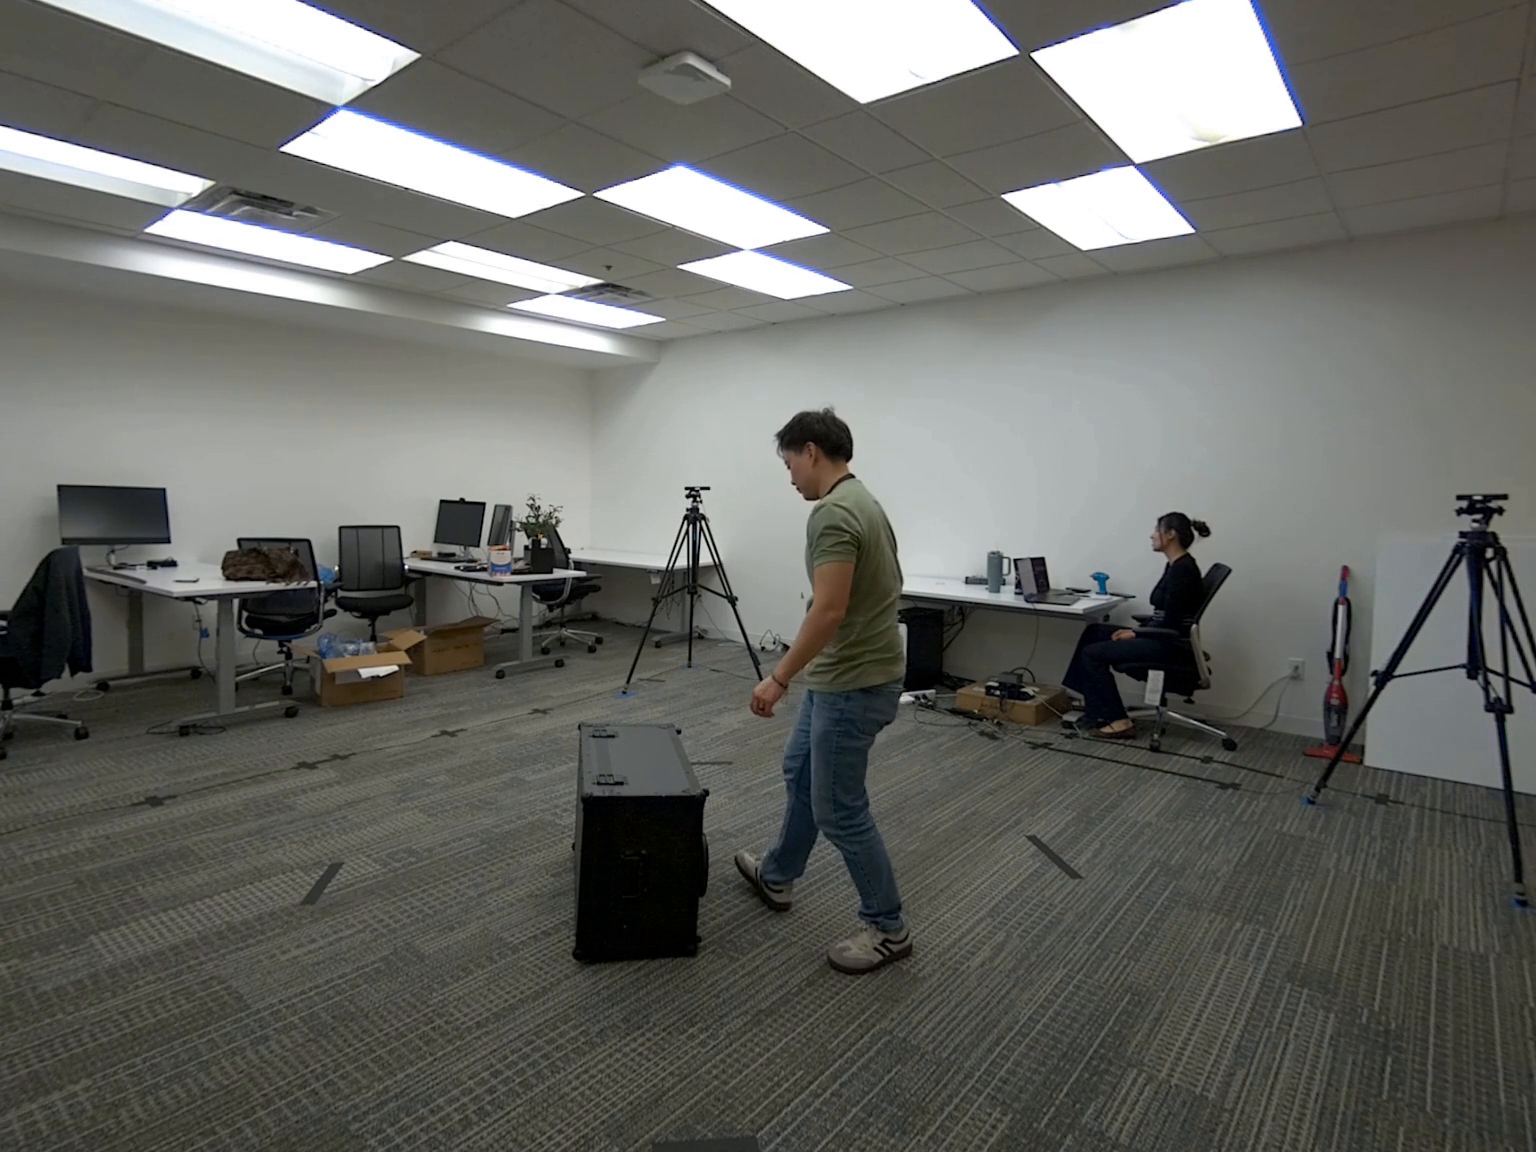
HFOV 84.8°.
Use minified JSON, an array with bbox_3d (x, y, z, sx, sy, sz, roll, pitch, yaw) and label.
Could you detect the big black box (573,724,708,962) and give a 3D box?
[{"bbox_3d":[-0.463,0.826,2.889,0.391,0.519,0.876,2,5,-14],"label":"big black box"}]
